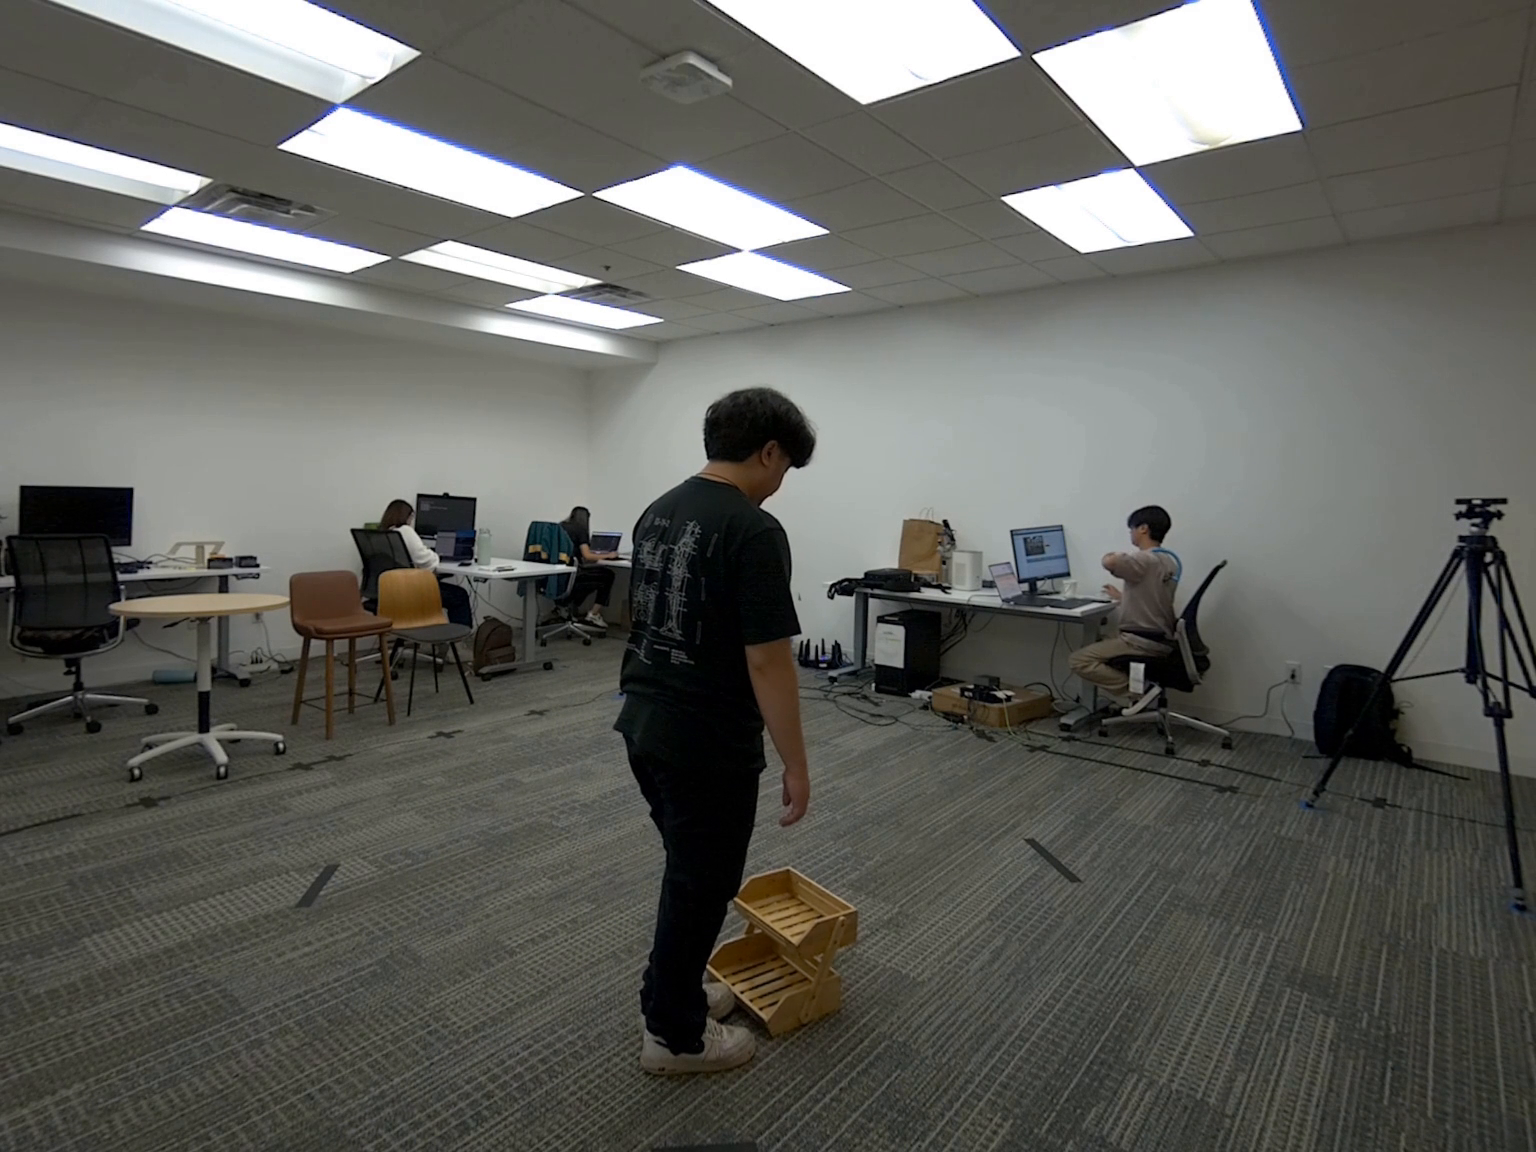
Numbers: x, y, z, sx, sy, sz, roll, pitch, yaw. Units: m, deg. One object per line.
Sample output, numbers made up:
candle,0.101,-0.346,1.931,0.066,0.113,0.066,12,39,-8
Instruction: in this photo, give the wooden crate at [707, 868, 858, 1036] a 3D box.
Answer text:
wooden crate,0.029,1.018,2.353,0.293,0.272,0.335,-2,6,-36
